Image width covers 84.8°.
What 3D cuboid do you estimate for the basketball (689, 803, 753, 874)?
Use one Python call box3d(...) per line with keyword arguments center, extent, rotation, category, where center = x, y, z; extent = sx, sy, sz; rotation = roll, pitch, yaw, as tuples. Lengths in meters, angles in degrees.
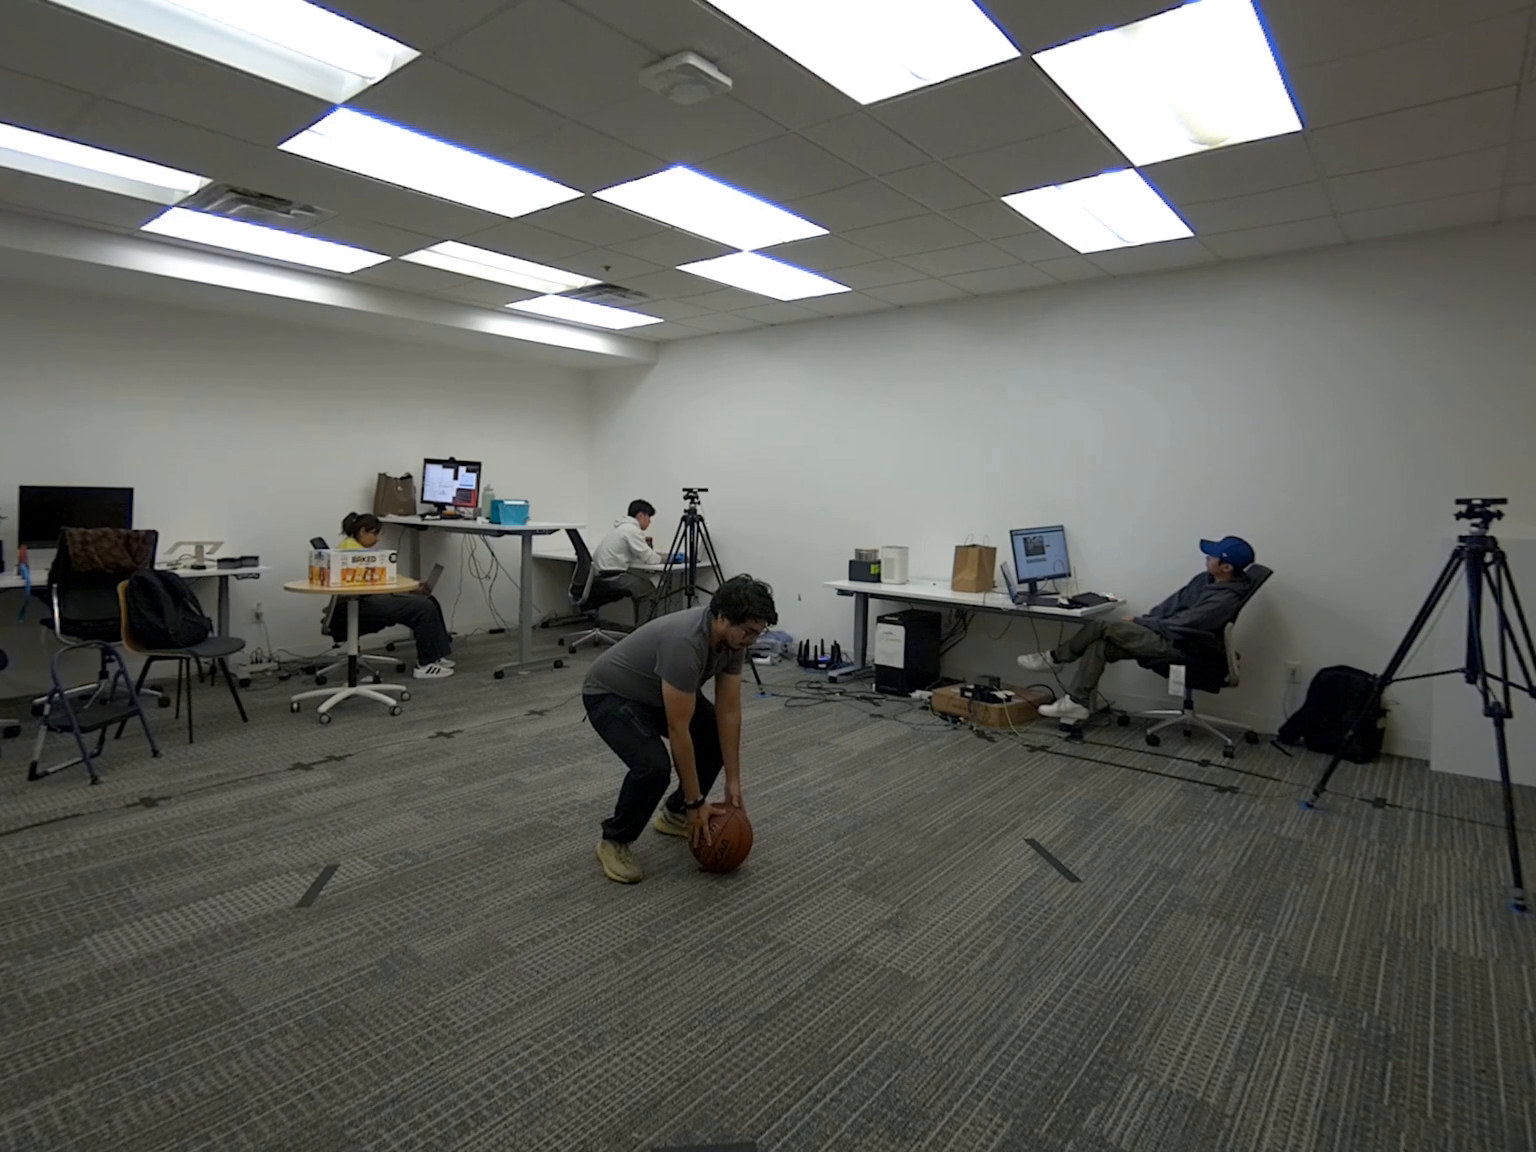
box3d(center=(-0.186, 0.946, 3.116), extent=(0.235, 0.235, 0.237), rotation=(1, 4, -2), category="basketball")
